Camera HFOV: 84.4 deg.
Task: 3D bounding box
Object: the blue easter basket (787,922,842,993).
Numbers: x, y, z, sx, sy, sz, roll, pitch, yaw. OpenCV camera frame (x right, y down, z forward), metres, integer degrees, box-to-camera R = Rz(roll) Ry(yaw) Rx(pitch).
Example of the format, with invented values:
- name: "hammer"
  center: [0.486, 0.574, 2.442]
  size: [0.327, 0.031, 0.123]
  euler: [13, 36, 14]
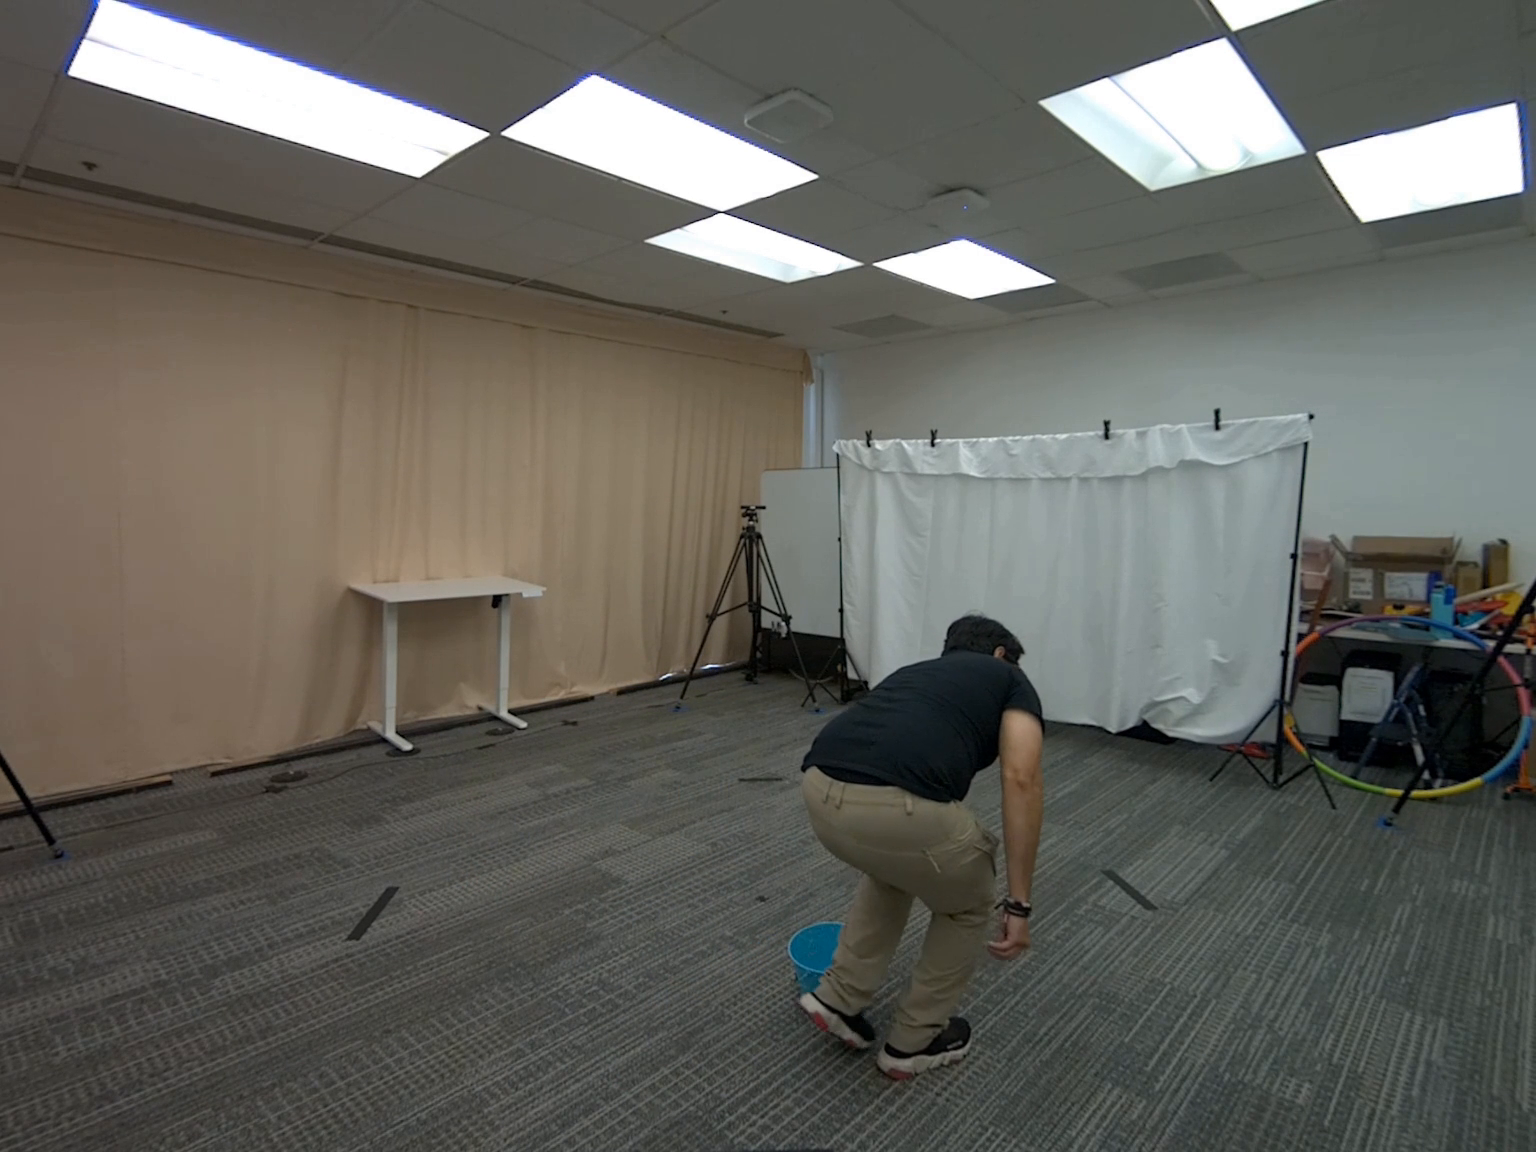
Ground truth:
- name: "blue easter basket"
  center: [0.186, 1.108, 2.364]
  size: [0.243, 0.155, 0.245]
  euler: [-6, 8, -1]
